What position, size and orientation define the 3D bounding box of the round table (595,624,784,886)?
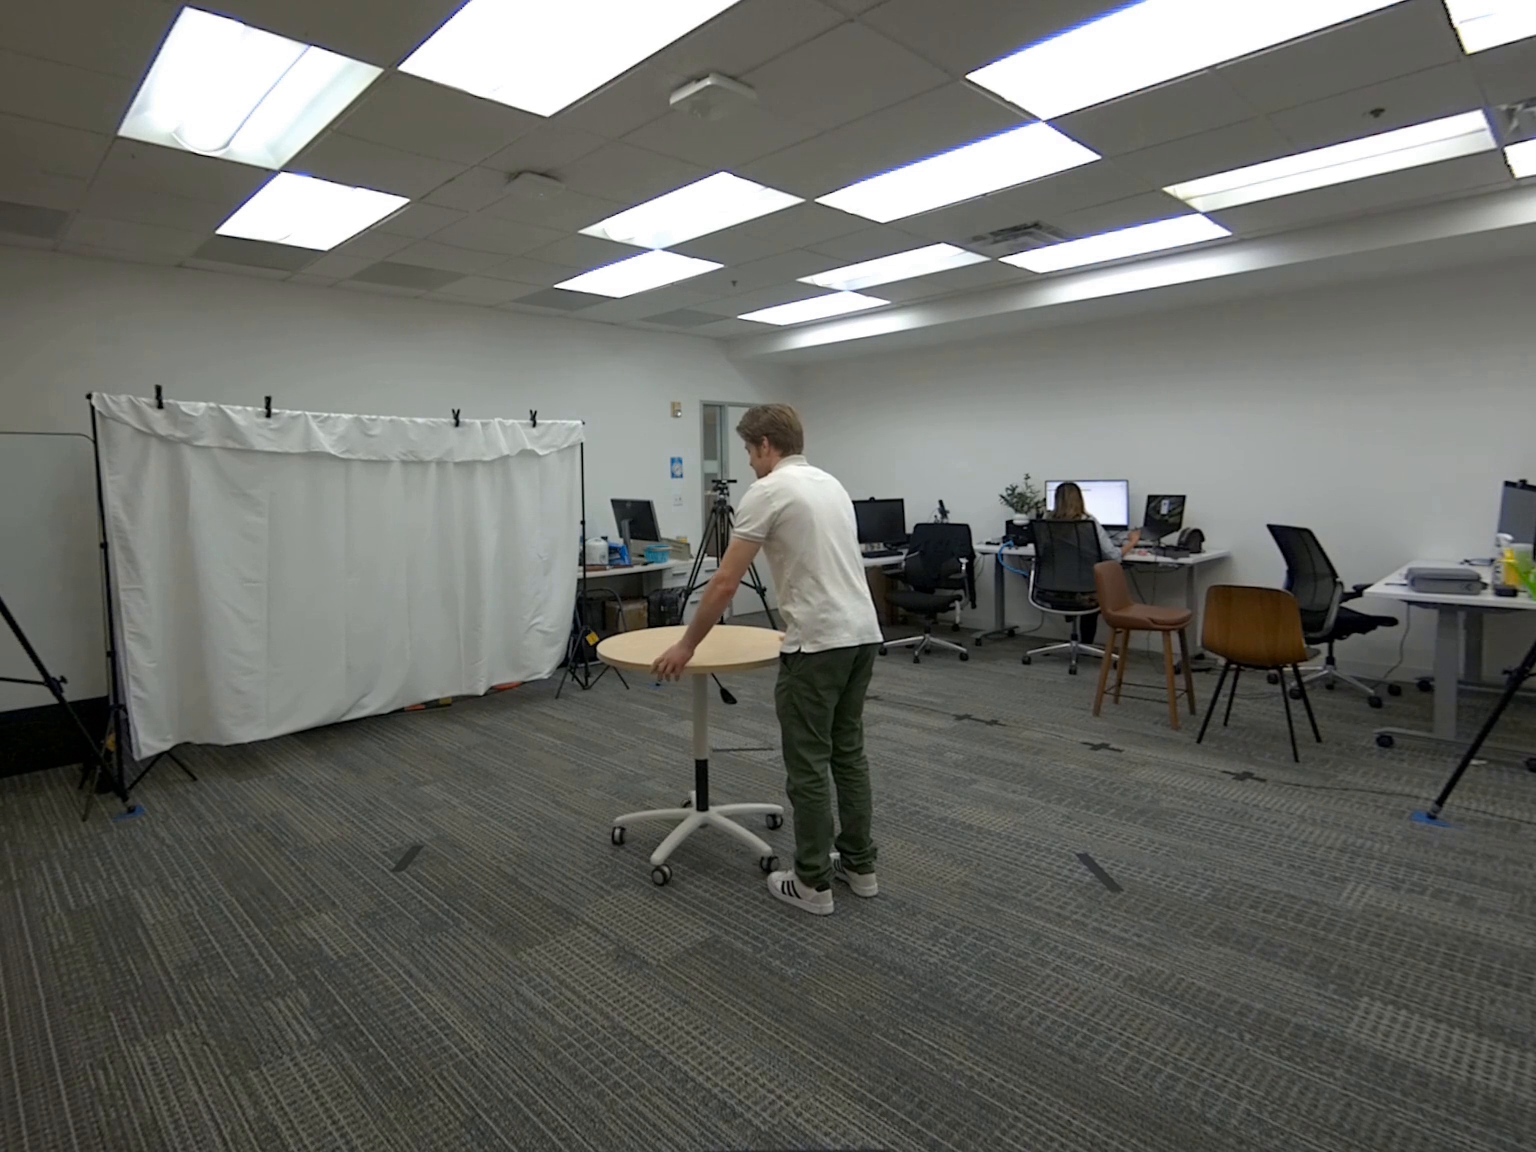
[{"bbox_3d":[-0.255,0.644,3.254,0.763,0.791,0.768,-1,5,-2],"label":"round table"}]
